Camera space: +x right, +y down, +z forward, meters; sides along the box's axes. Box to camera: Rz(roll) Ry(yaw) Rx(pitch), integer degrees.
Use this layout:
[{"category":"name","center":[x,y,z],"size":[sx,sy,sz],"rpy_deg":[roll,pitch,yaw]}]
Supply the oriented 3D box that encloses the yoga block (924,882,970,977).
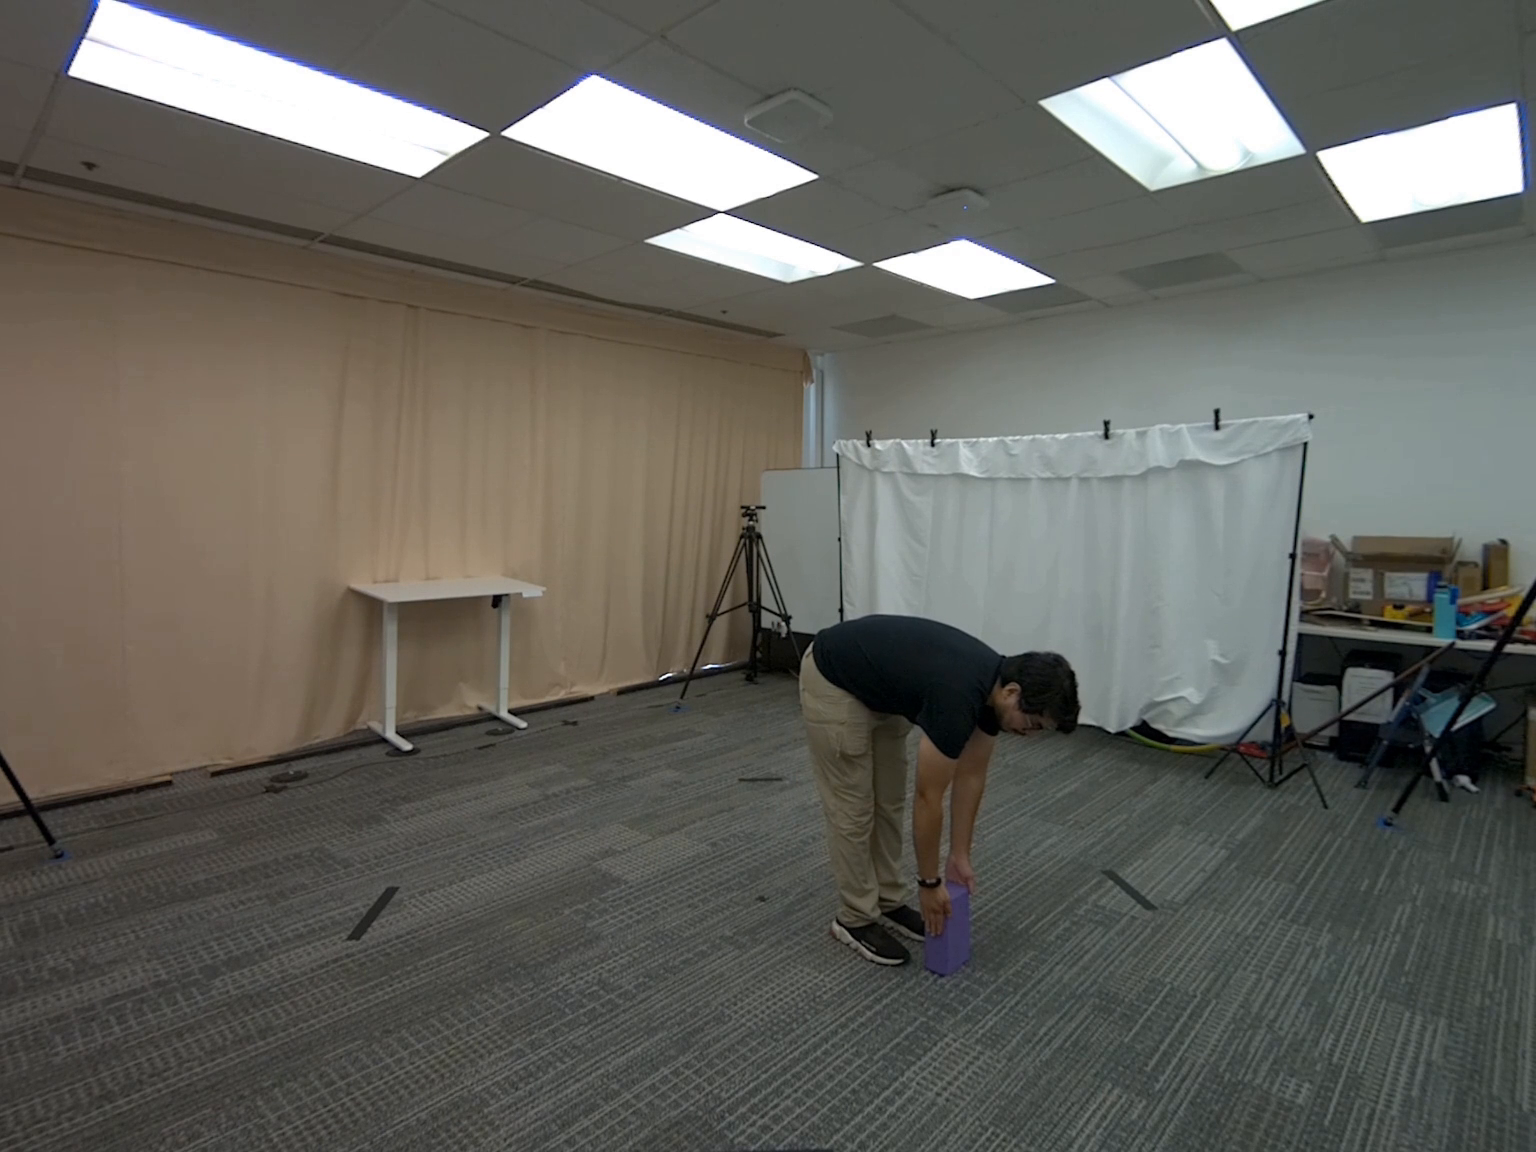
[{"category":"yoga block","center":[0.549,1.067,2.545],"size":[0.079,0.229,0.144],"rpy_deg":[4,5,45]}]
